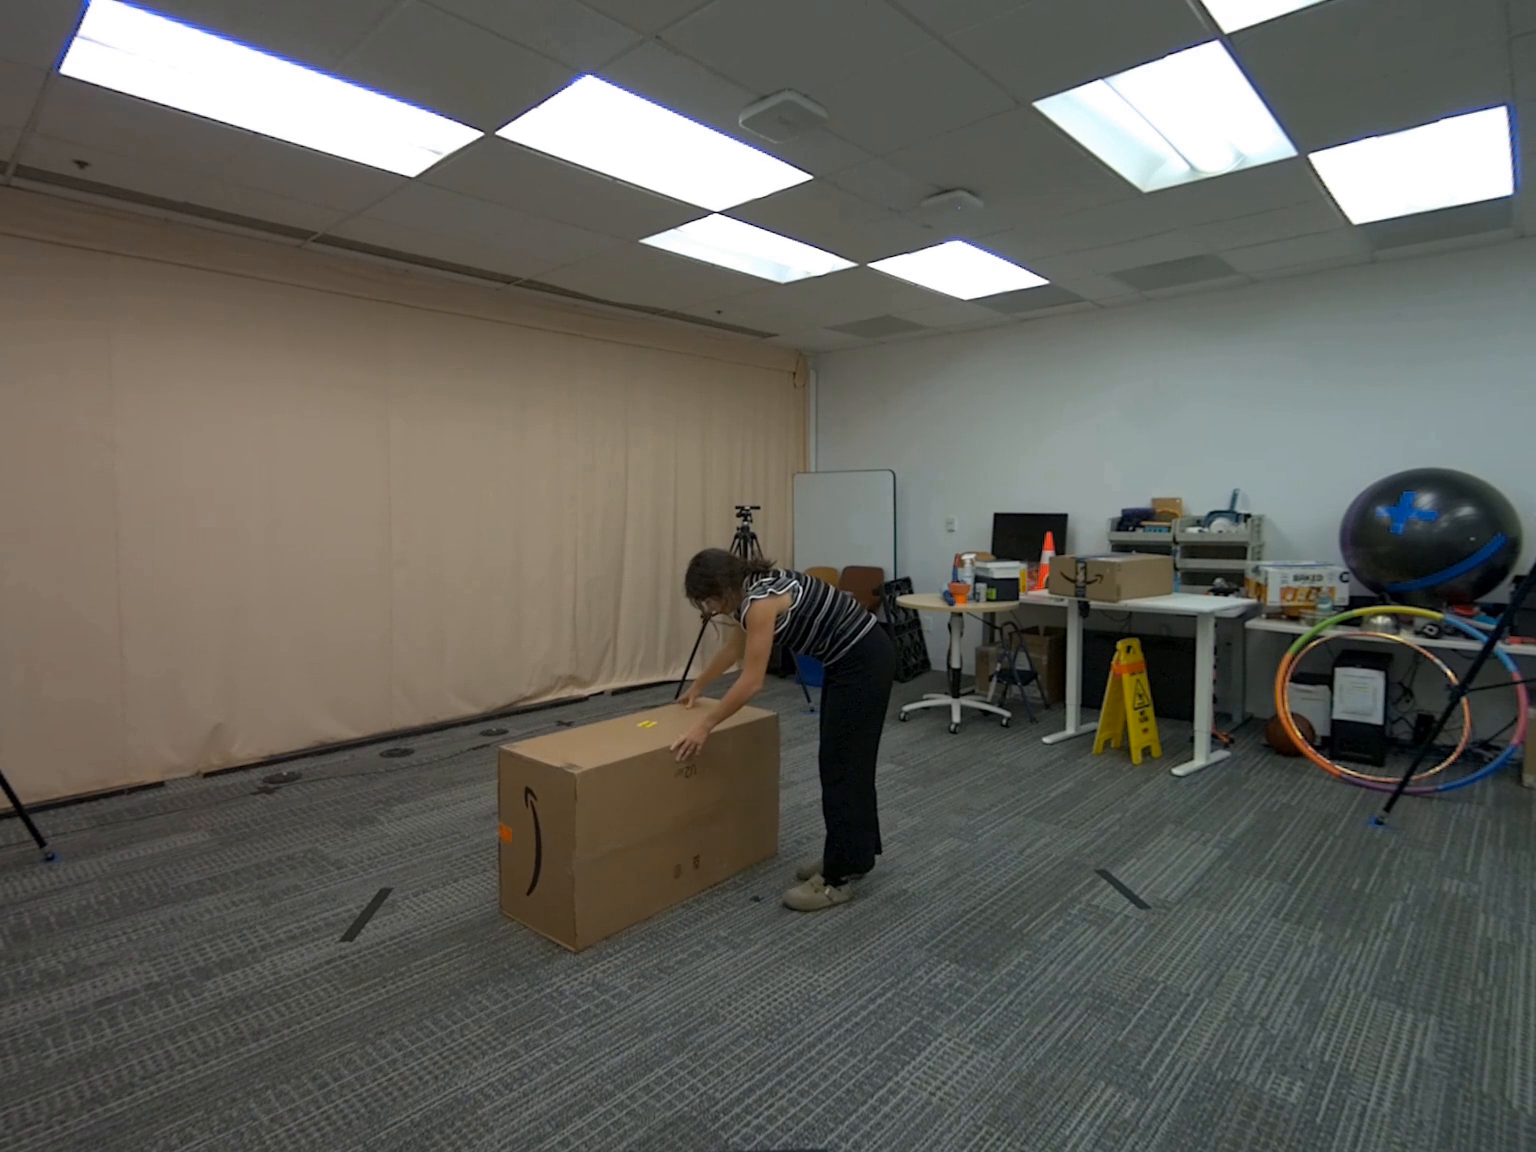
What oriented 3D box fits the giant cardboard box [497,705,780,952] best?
[{"bbox_3d":[-0.440,0.845,3.124,0.440,0.576,0.995,2,5,41],"label":"giant cardboard box"}]
